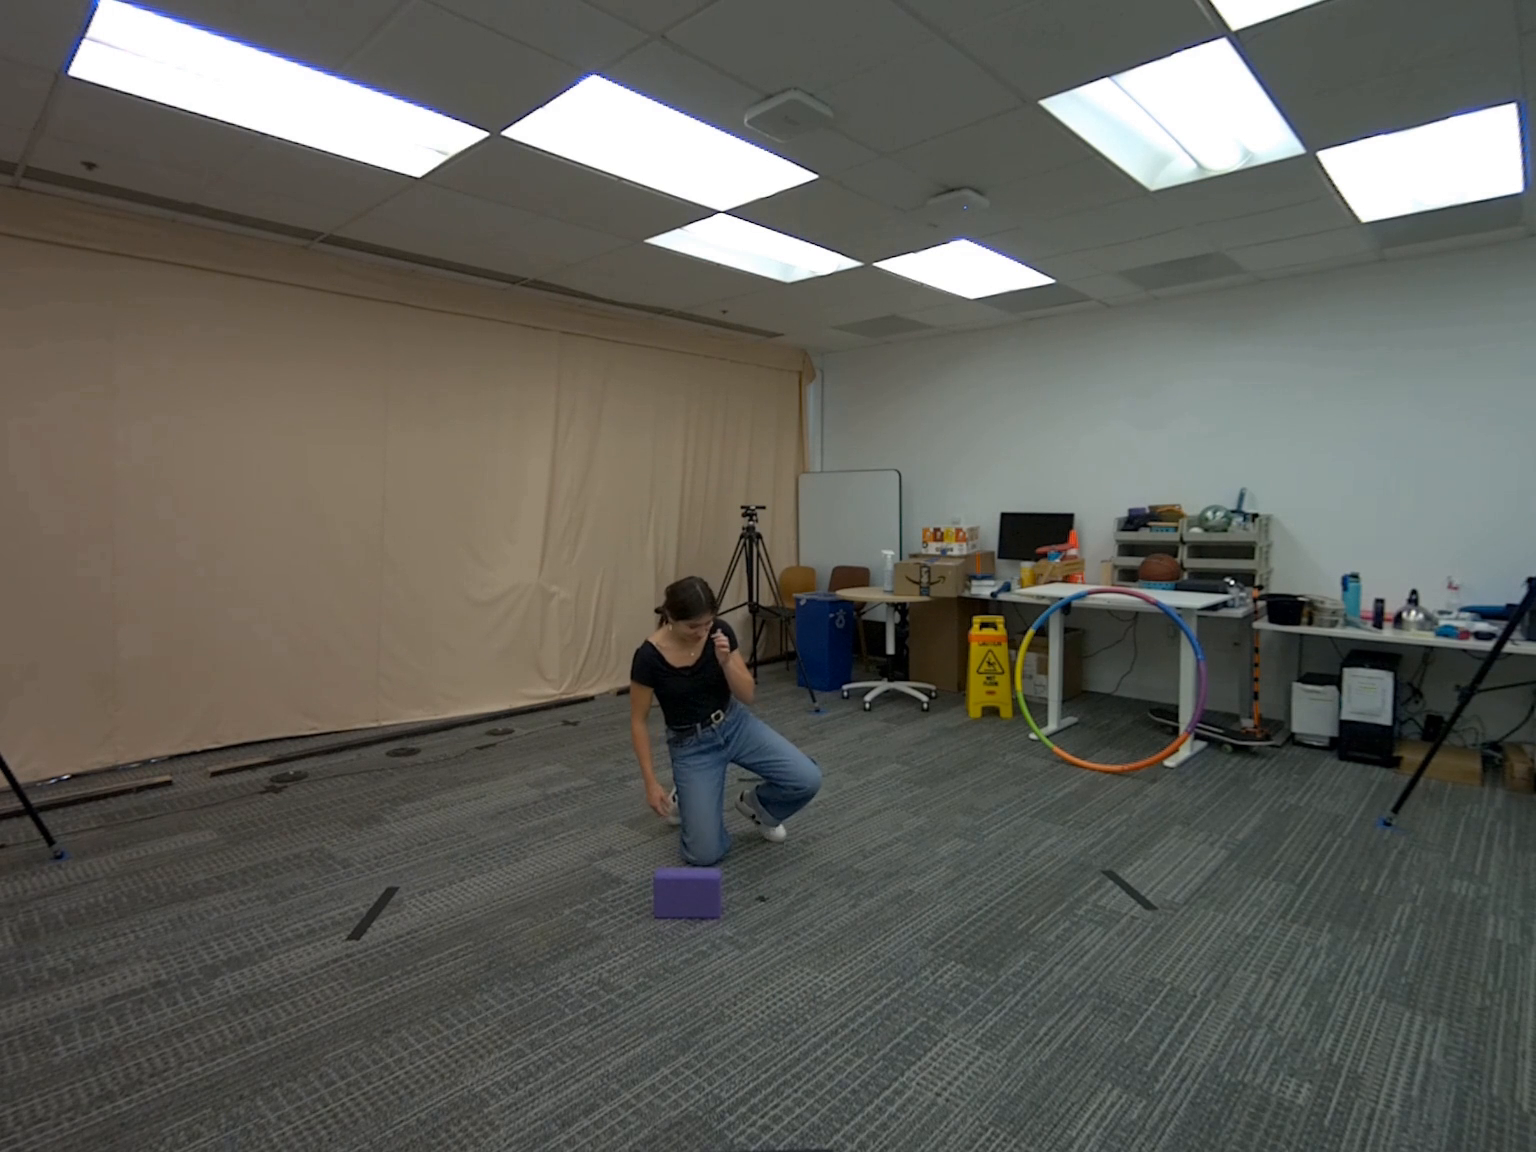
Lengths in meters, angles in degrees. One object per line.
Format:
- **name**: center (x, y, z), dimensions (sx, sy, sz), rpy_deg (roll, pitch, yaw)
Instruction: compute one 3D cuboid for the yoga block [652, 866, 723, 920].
- **yoga block**: center (-0.274, 1.076, 2.871), dimensions (0.230, 0.148, 0.076), rpy_deg (0, 5, 2)
